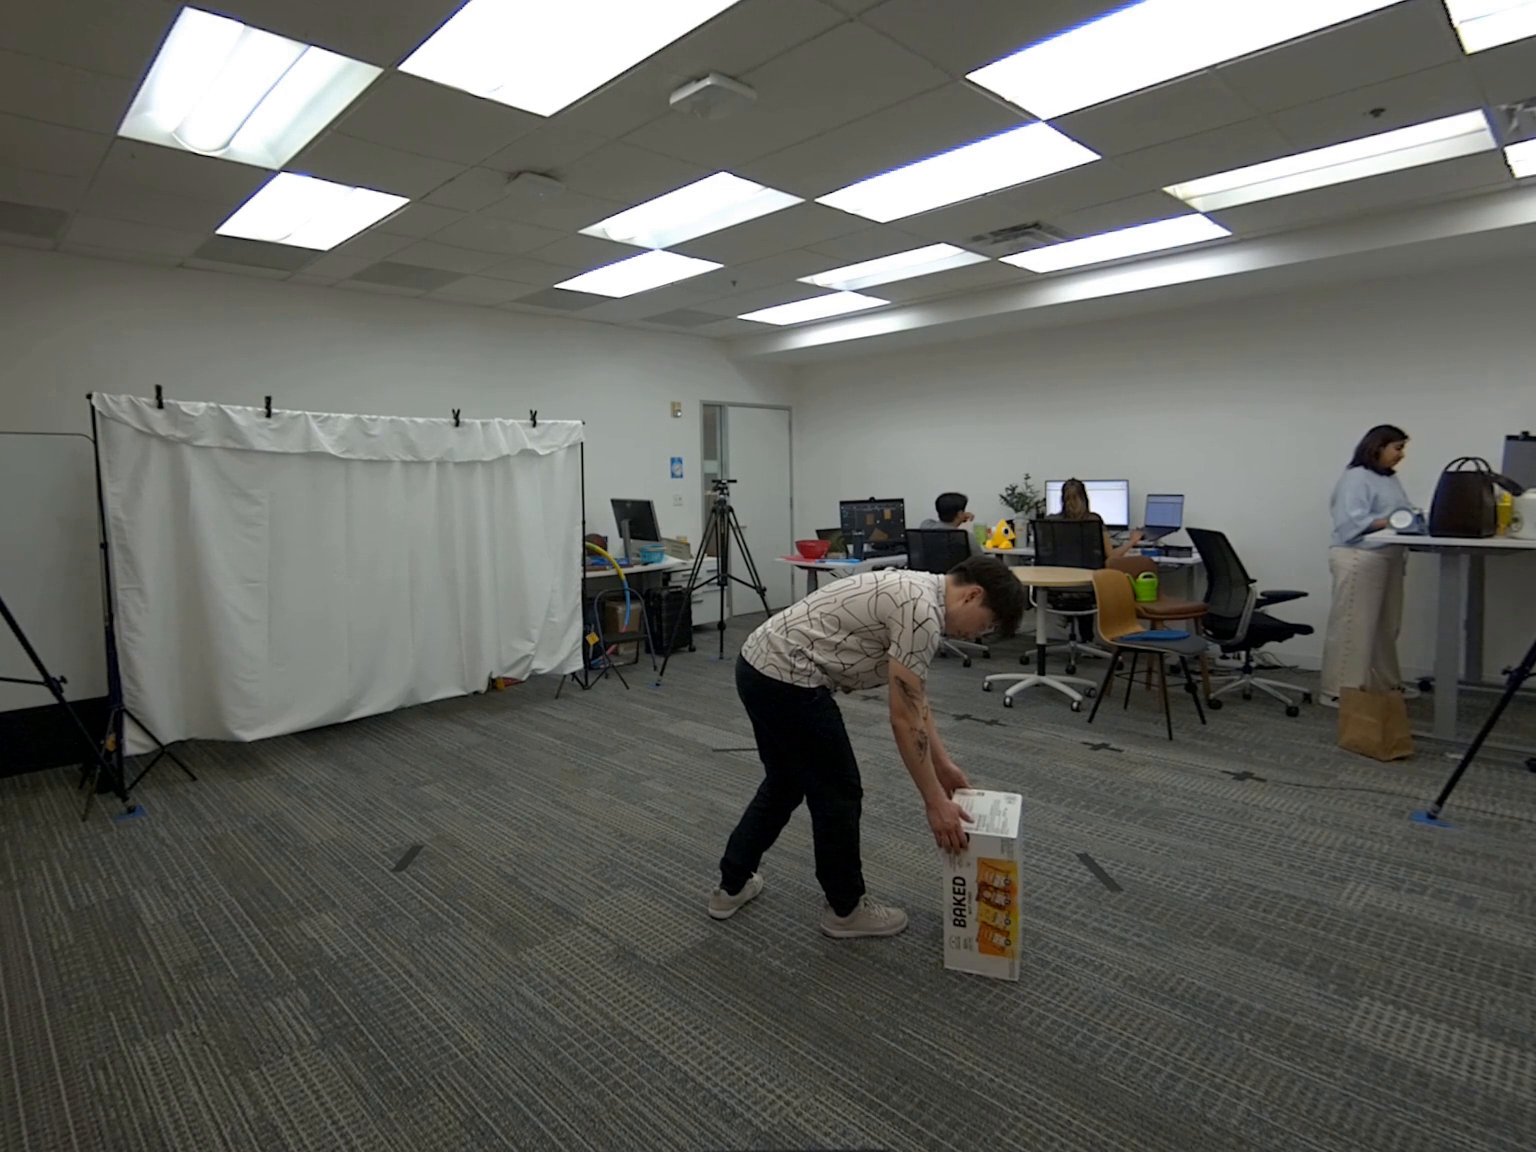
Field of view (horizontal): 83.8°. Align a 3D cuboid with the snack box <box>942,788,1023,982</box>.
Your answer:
[{"bbox_3d":[0.646,0.893,2.531,0.209,0.404,0.335,0,4,19],"label":"snack box"}]
